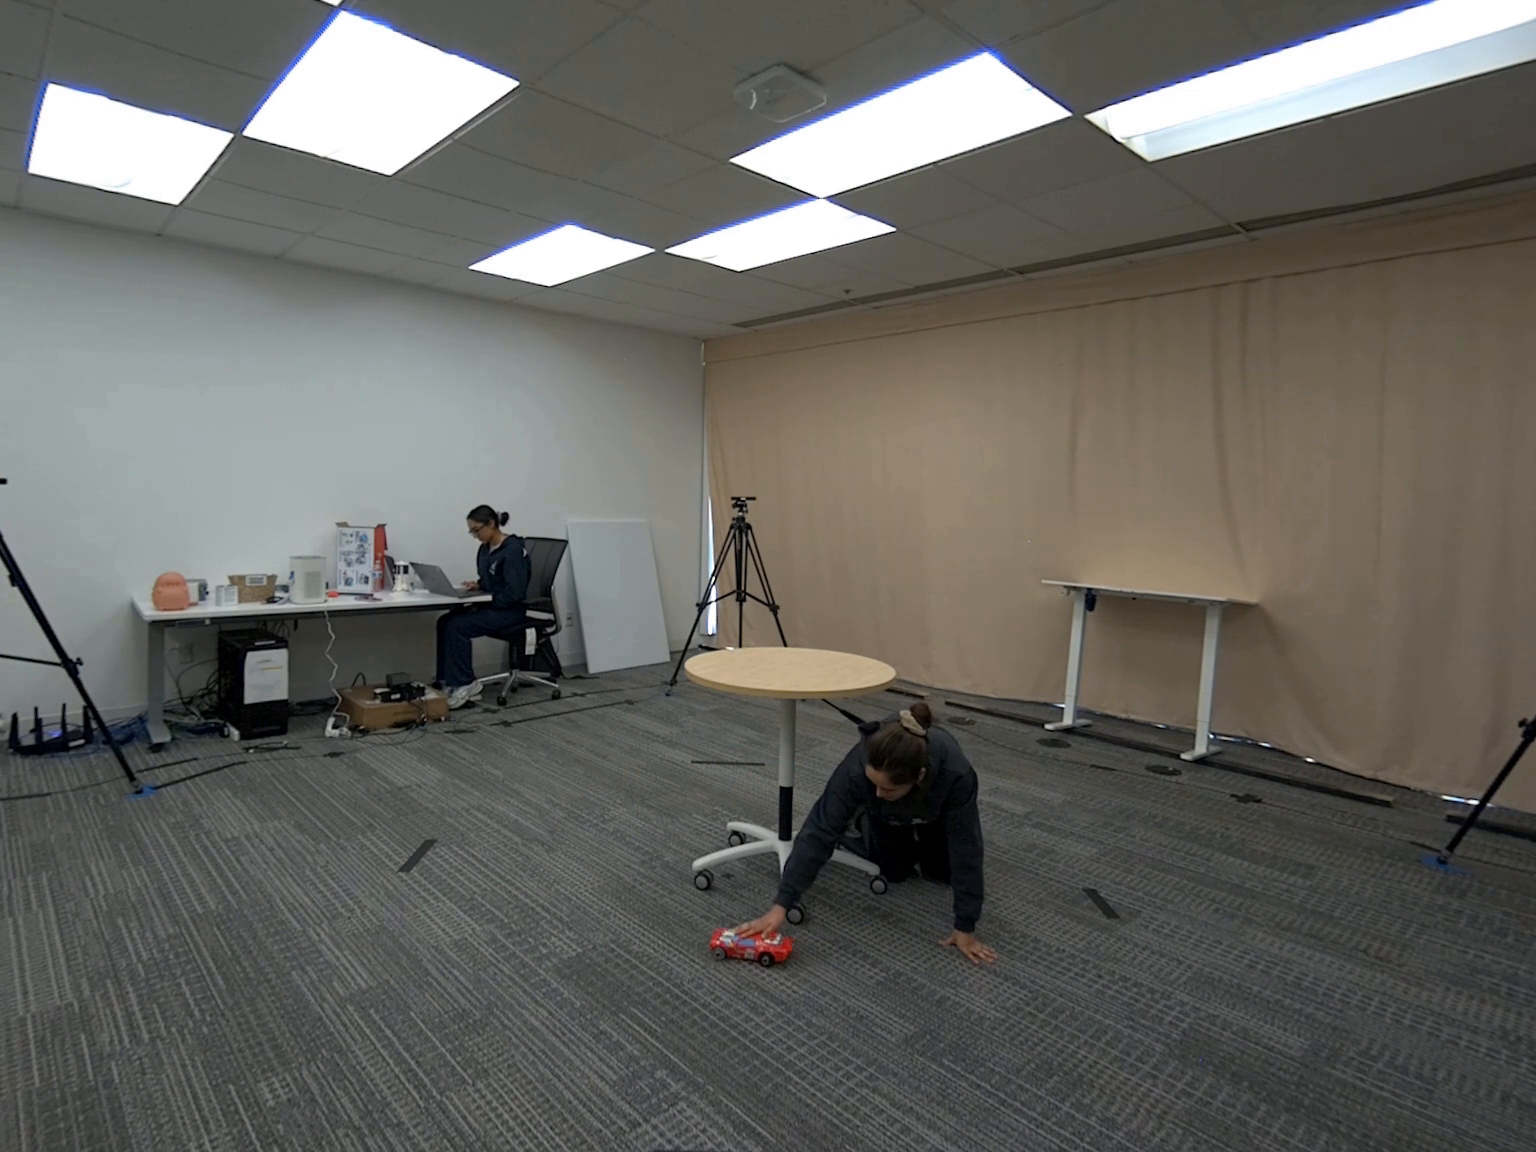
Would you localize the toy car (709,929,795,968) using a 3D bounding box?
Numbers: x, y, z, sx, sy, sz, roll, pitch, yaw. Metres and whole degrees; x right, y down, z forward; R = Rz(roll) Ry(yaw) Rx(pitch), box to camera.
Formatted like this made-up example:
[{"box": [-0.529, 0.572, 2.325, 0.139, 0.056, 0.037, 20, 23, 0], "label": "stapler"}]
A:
[{"box": [-0.041, 1.126, 2.569, 0.256, 0.083, 0.129, -10, 2, 10], "label": "toy car"}]
